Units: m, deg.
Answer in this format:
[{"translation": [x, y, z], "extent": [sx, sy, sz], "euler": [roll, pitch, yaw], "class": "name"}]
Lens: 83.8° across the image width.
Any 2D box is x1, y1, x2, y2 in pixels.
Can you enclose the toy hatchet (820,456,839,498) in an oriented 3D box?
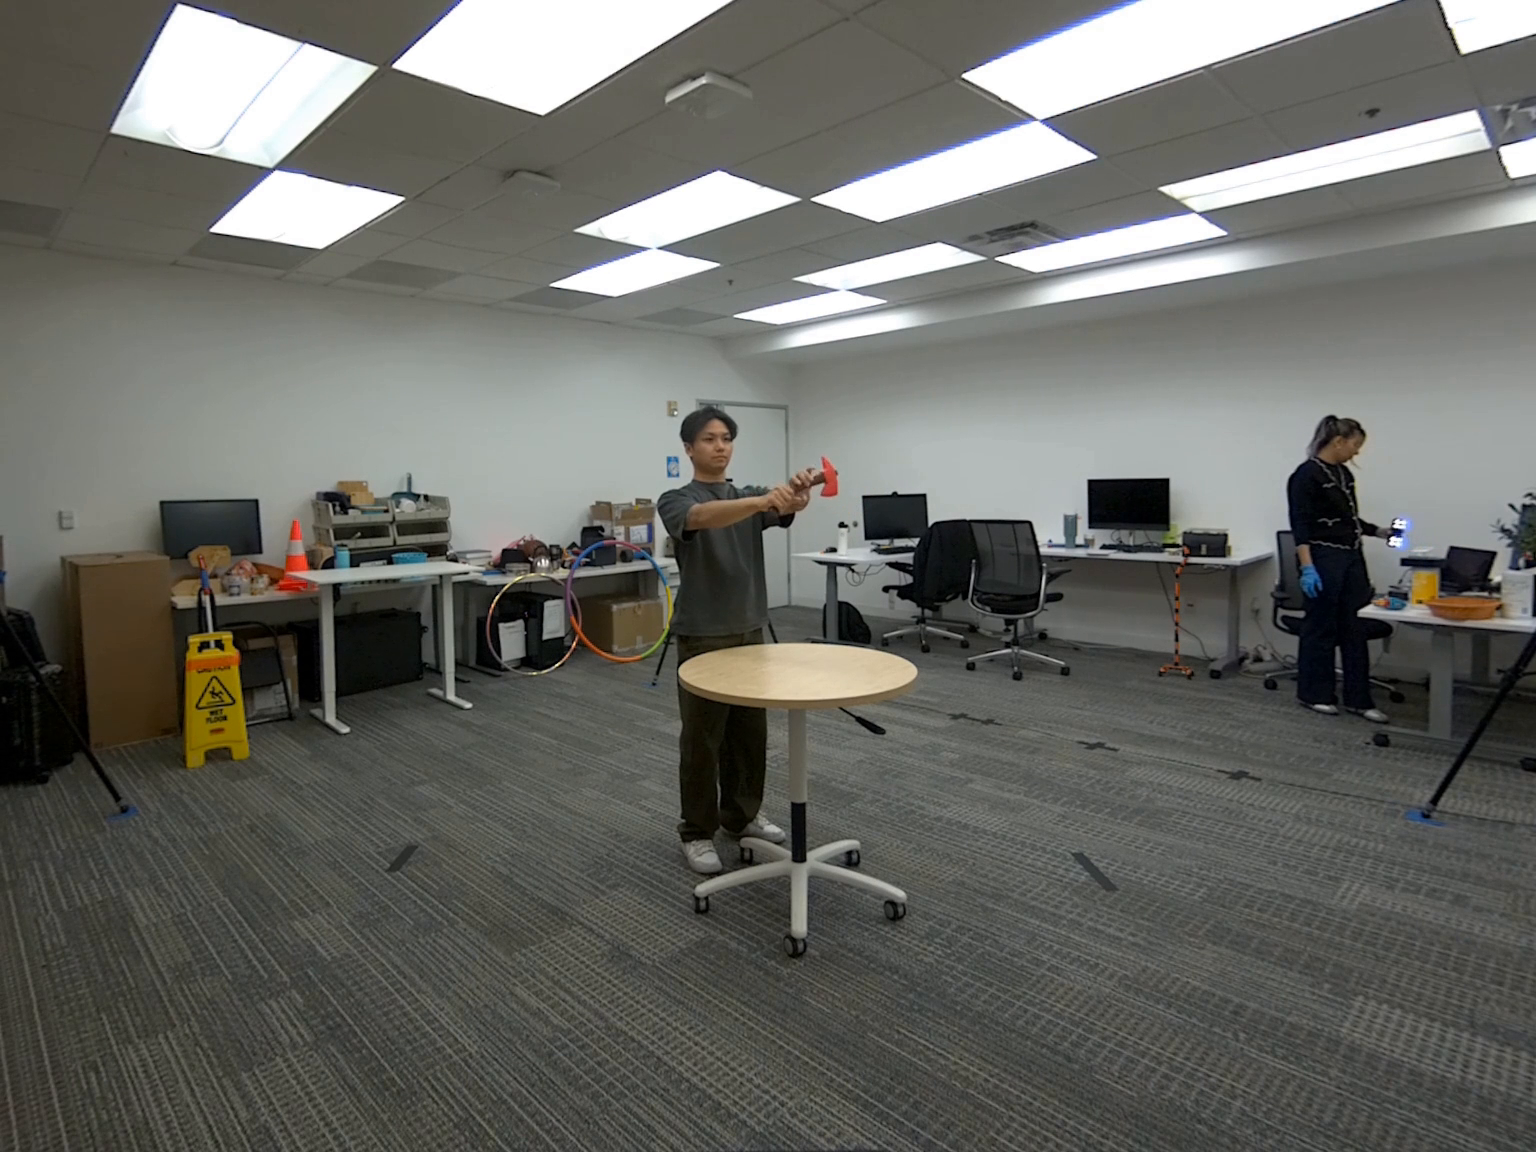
[{"translation": [0.117, -0.265, 2.747], "extent": [0.269, 0.129, 0.030], "euler": [-42, 14, -13], "class": "toy hatchet"}]
